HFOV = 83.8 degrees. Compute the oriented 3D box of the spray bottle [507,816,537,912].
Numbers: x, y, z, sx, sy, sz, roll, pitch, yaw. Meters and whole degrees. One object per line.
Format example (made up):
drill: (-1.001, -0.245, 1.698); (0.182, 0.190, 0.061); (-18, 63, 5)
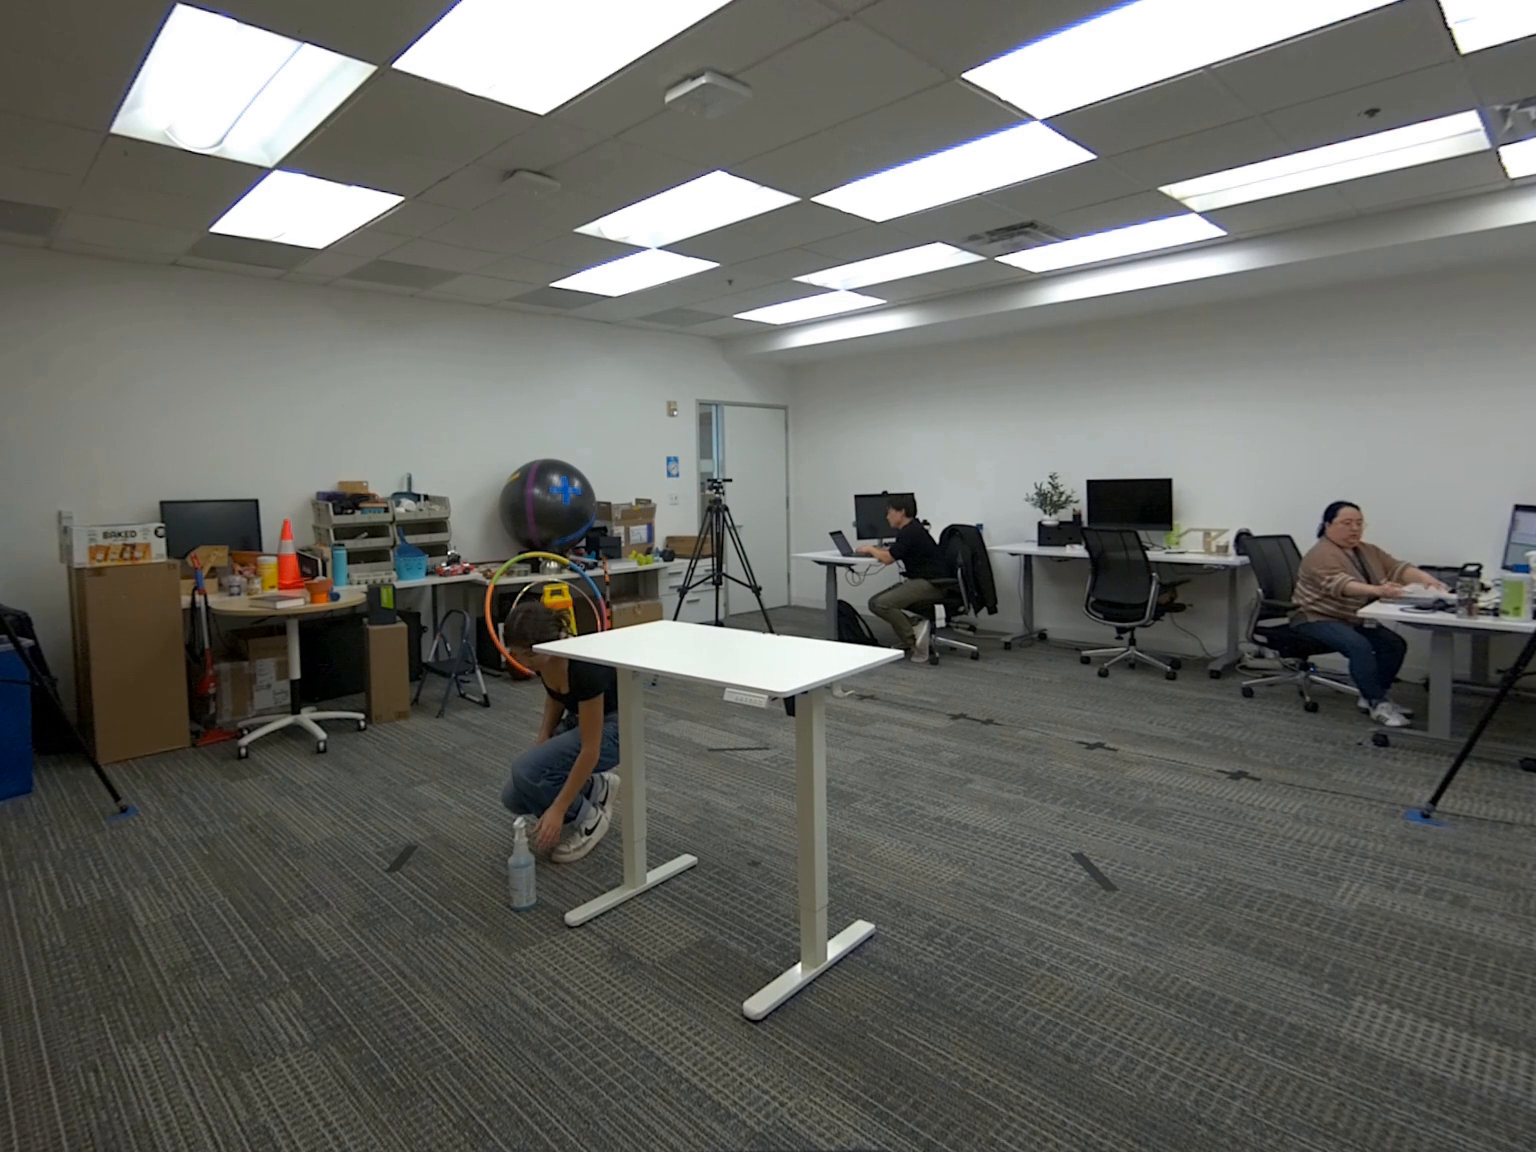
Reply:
spray bottle: (-0.816, 0.951, 2.823); (0.089, 0.296, 0.088); (3, 5, 24)
